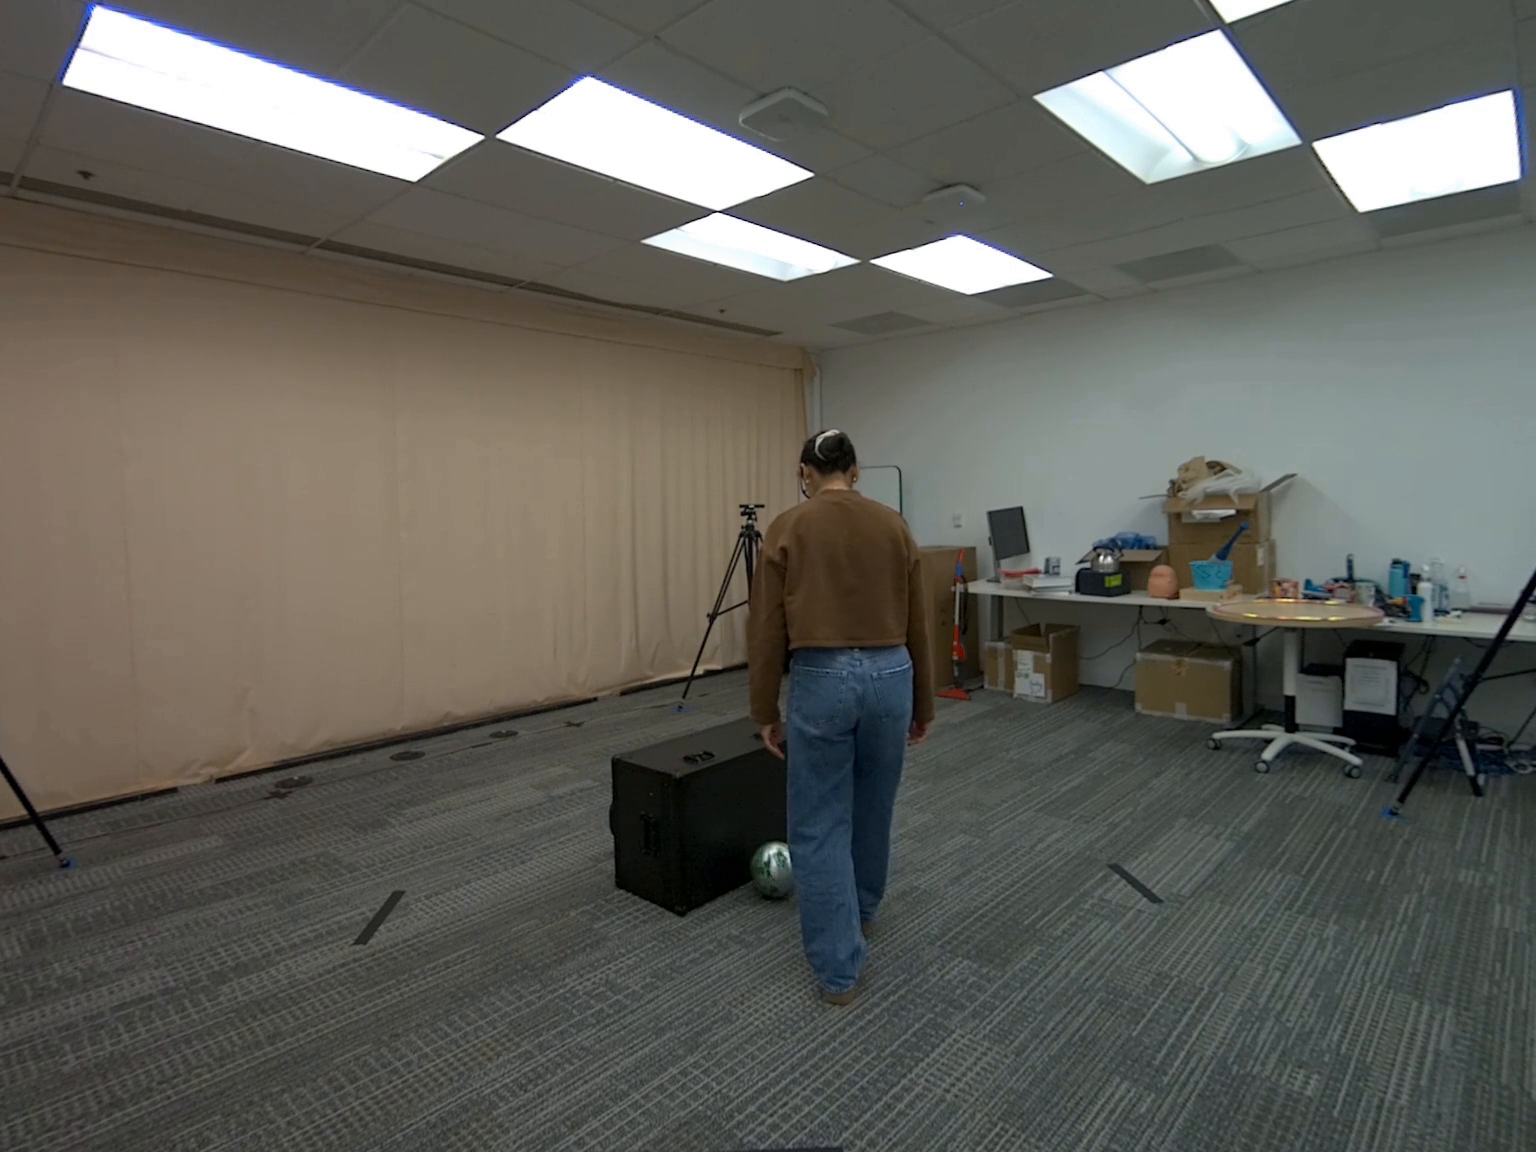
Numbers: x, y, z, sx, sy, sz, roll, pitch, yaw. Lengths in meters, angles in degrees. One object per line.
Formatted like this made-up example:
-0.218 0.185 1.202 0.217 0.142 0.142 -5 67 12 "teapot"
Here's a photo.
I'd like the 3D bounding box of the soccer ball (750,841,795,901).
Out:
0.039 1.036 2.982 0.187 0.187 0.188 -1 4 -2 "soccer ball"
